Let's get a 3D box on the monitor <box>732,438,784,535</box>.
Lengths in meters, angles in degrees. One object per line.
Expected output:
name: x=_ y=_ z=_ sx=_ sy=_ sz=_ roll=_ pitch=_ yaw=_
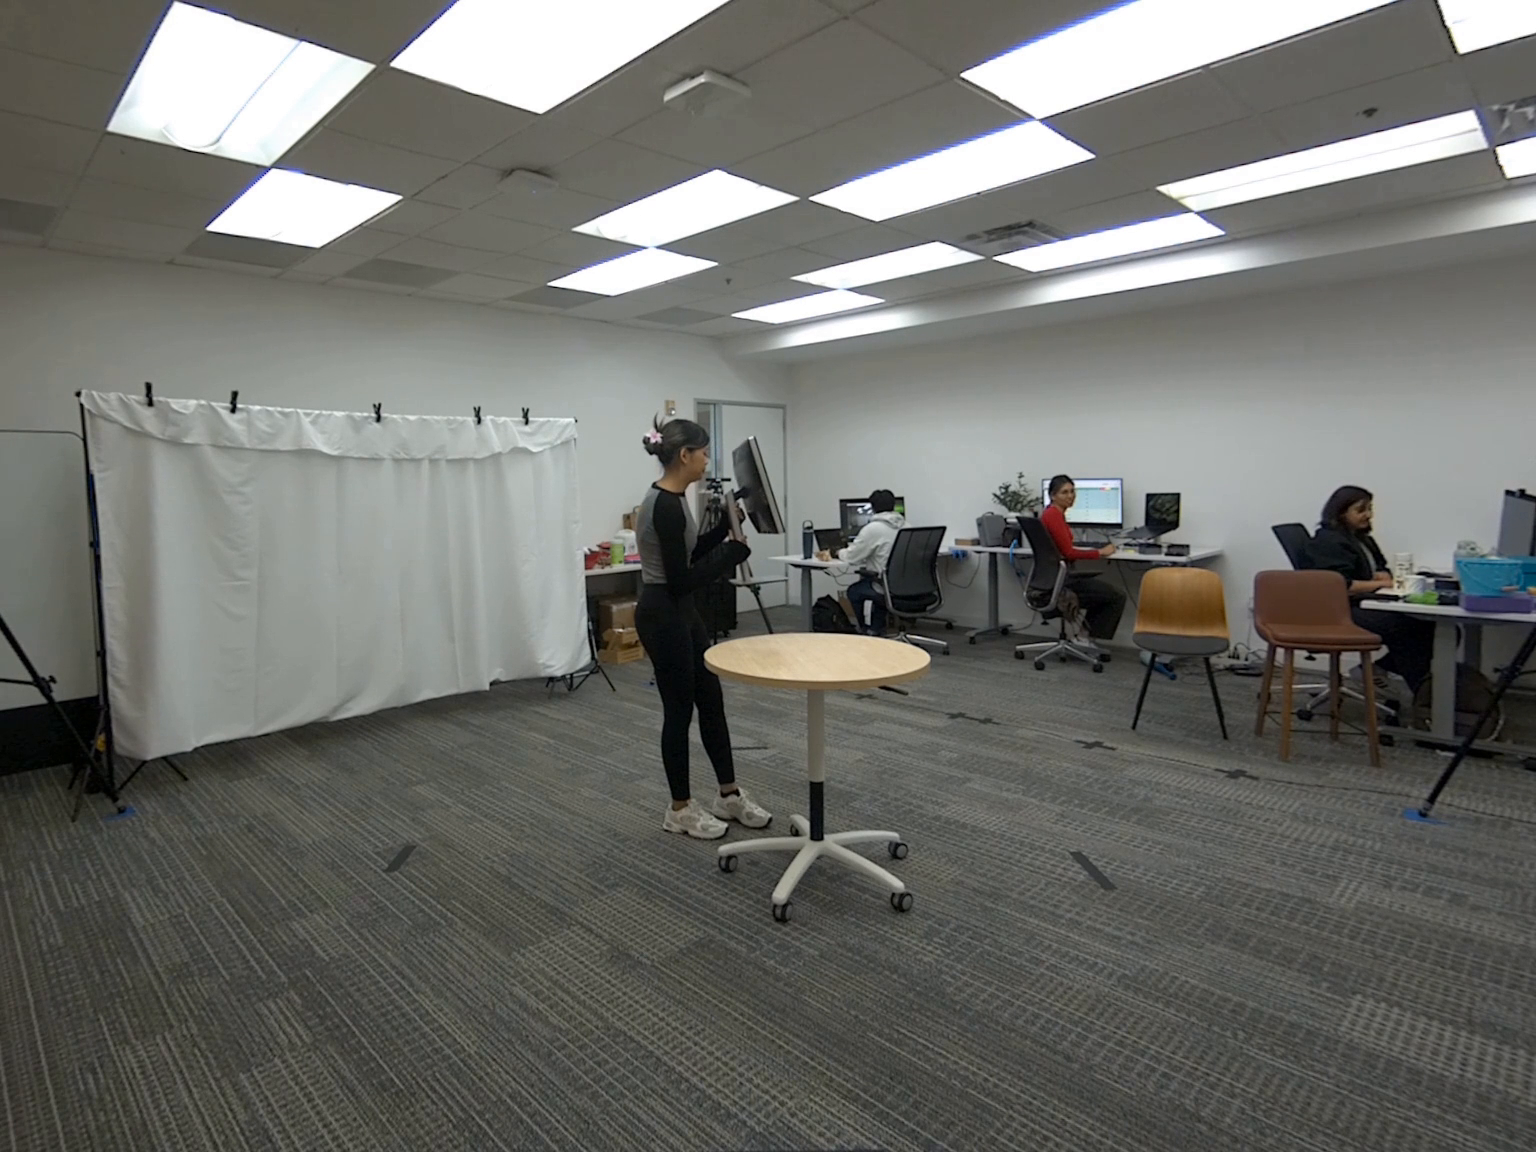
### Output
monitor: x=-0.074 y=-0.239 z=3.322 sx=0.185 sy=0.522 sz=0.545 roll=-5 pitch=3 yaw=-10
